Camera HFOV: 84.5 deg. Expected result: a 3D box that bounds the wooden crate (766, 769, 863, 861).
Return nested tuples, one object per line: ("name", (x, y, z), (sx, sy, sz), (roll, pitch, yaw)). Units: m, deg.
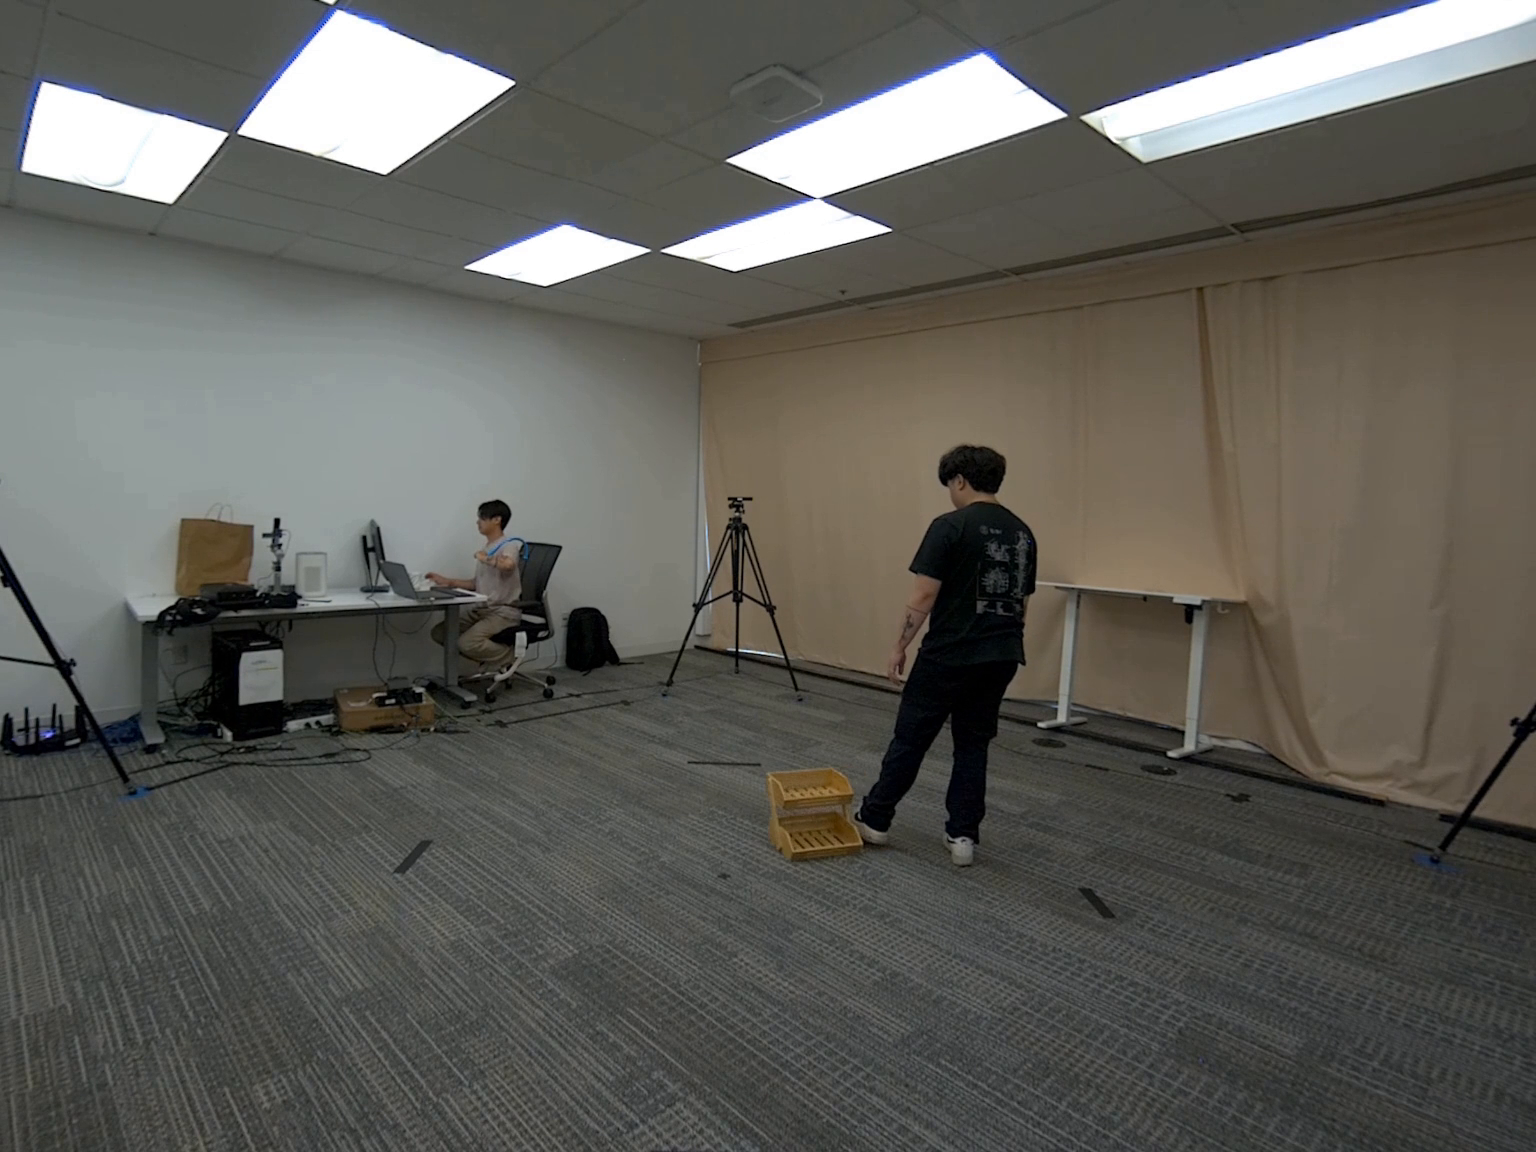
("wooden crate", (0.179, 0.951, 3.404), (0.319, 0.273, 0.307), (0, 4, -20))
